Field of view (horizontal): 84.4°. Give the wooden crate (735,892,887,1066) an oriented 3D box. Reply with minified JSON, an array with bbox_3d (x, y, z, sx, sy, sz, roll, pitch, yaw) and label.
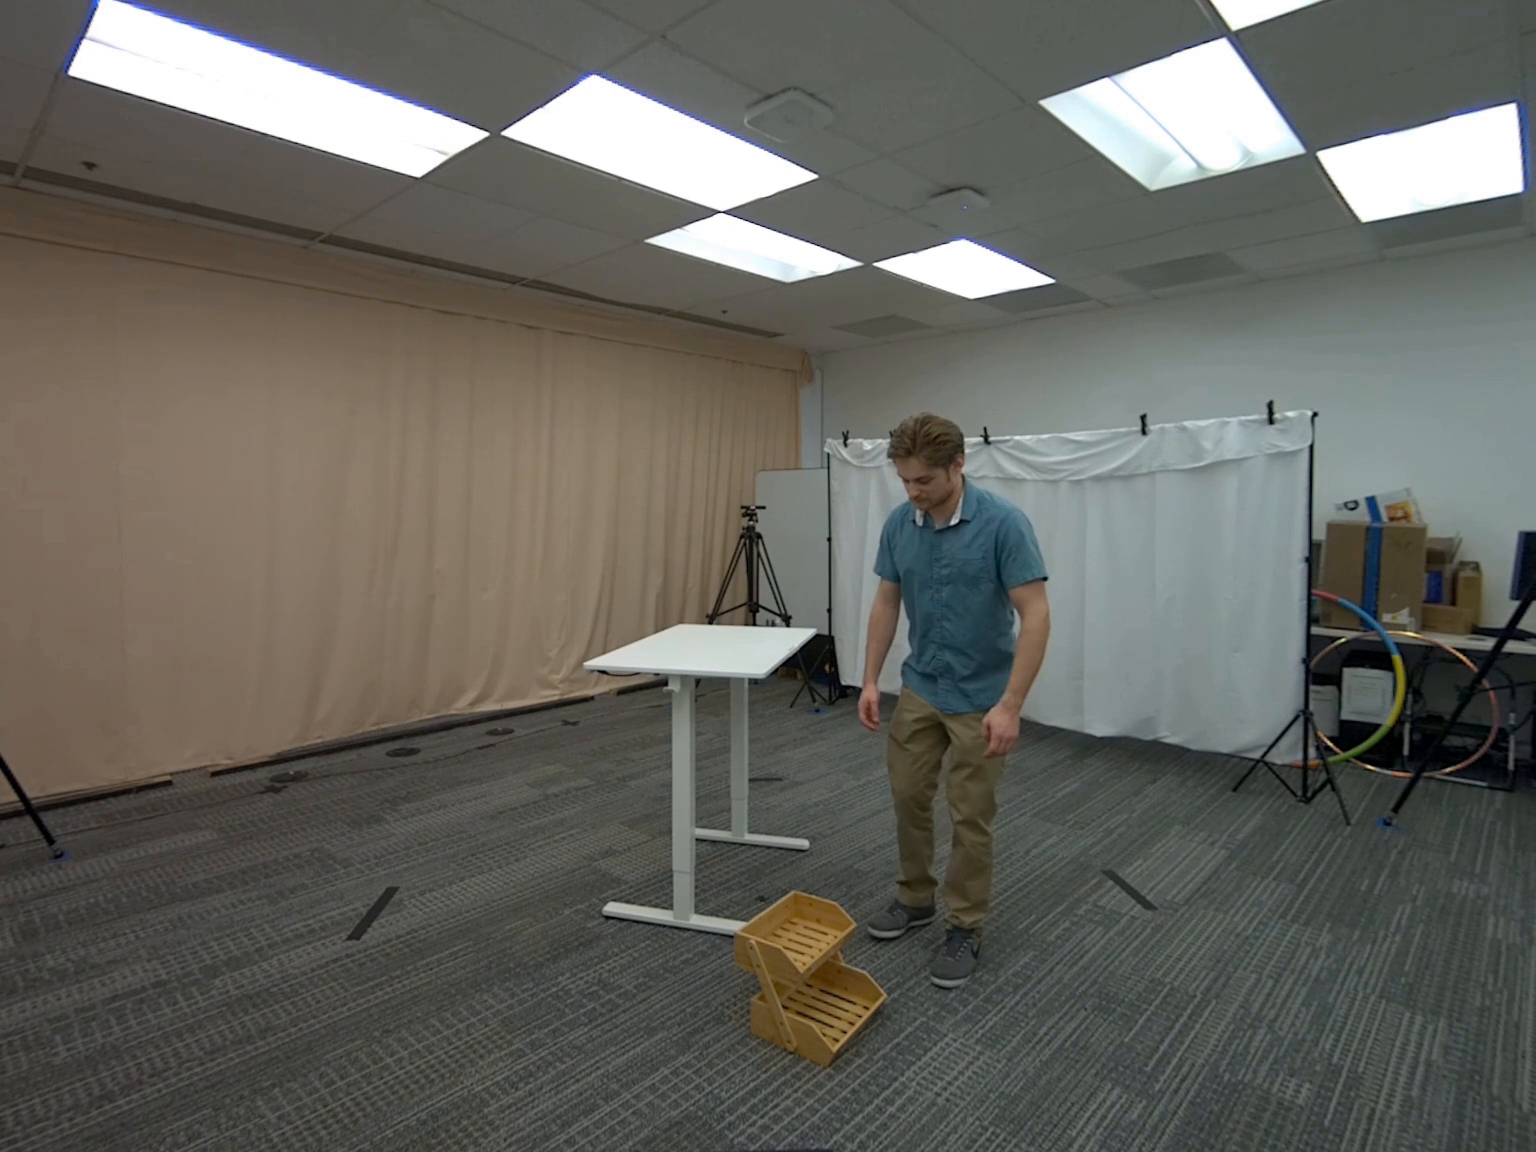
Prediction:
[{"bbox_3d":[0.128,1.070,2.273,0.311,0.273,0.315,2,4,35],"label":"wooden crate"}]
